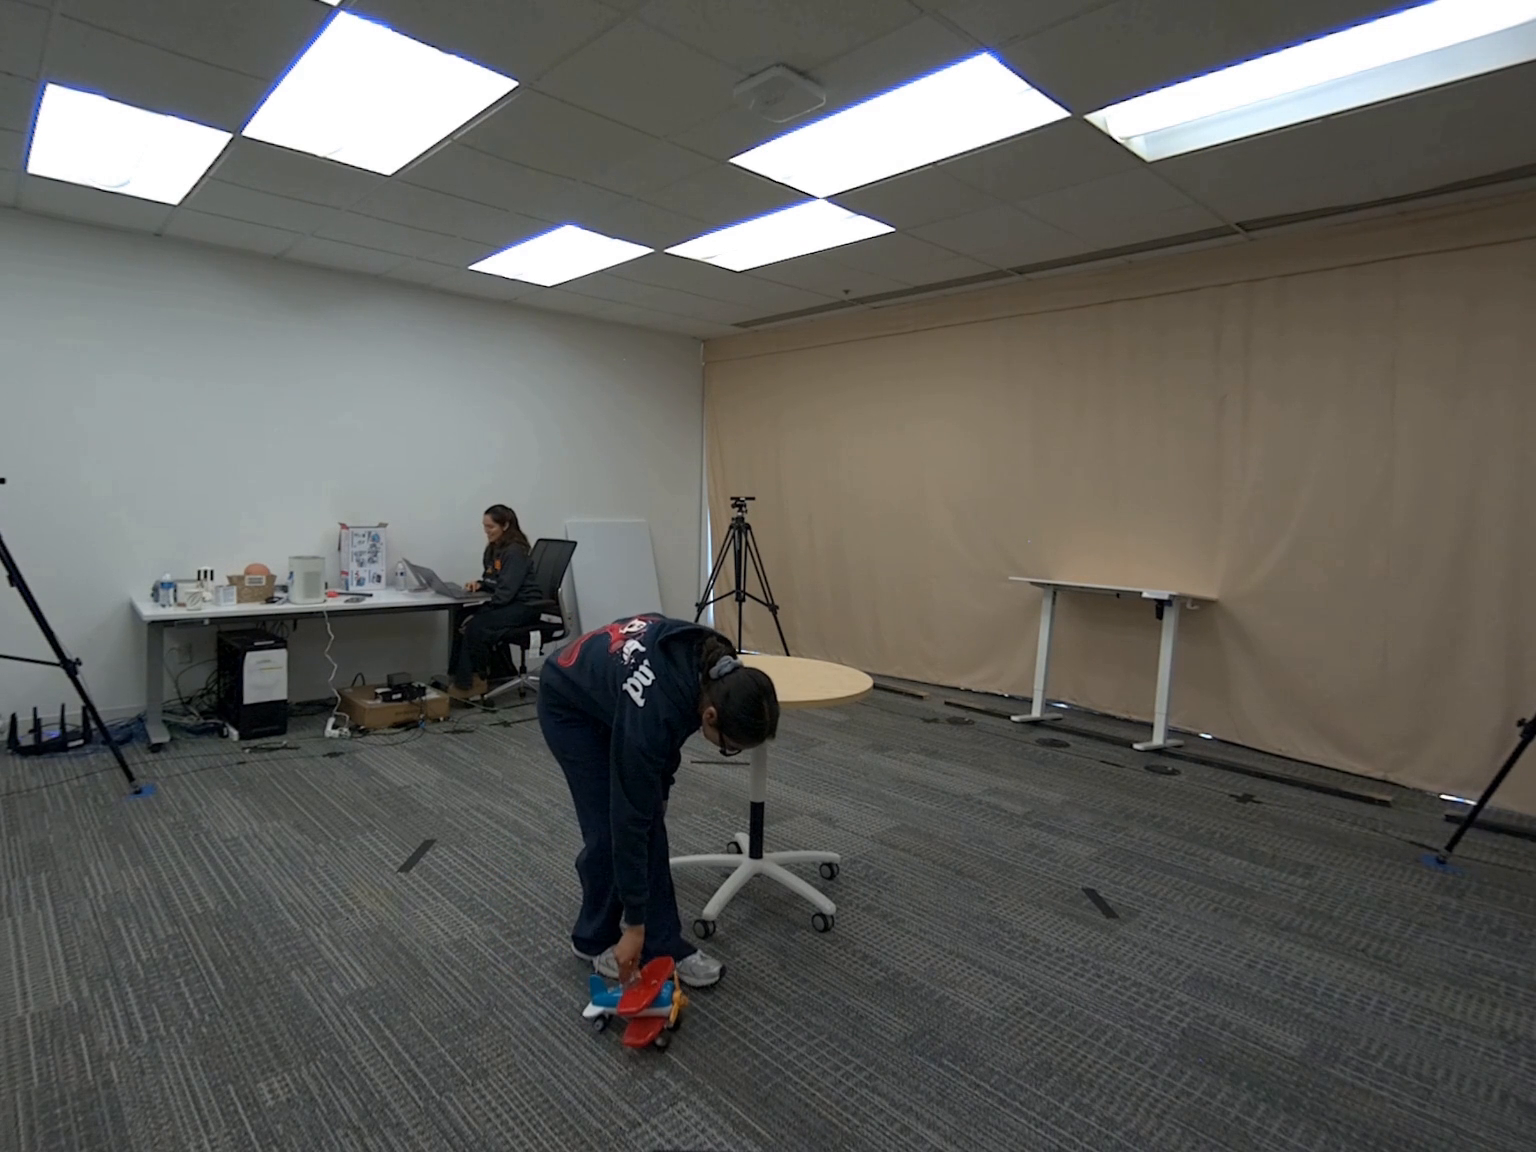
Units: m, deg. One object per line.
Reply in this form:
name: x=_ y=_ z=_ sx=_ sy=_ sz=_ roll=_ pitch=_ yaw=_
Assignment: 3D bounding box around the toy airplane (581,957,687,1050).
toy airplane: x=-0.347 y=1.122 z=2.153 sx=0.256 sy=0.156 sz=0.254 roll=1 pitch=5 yaw=-13
